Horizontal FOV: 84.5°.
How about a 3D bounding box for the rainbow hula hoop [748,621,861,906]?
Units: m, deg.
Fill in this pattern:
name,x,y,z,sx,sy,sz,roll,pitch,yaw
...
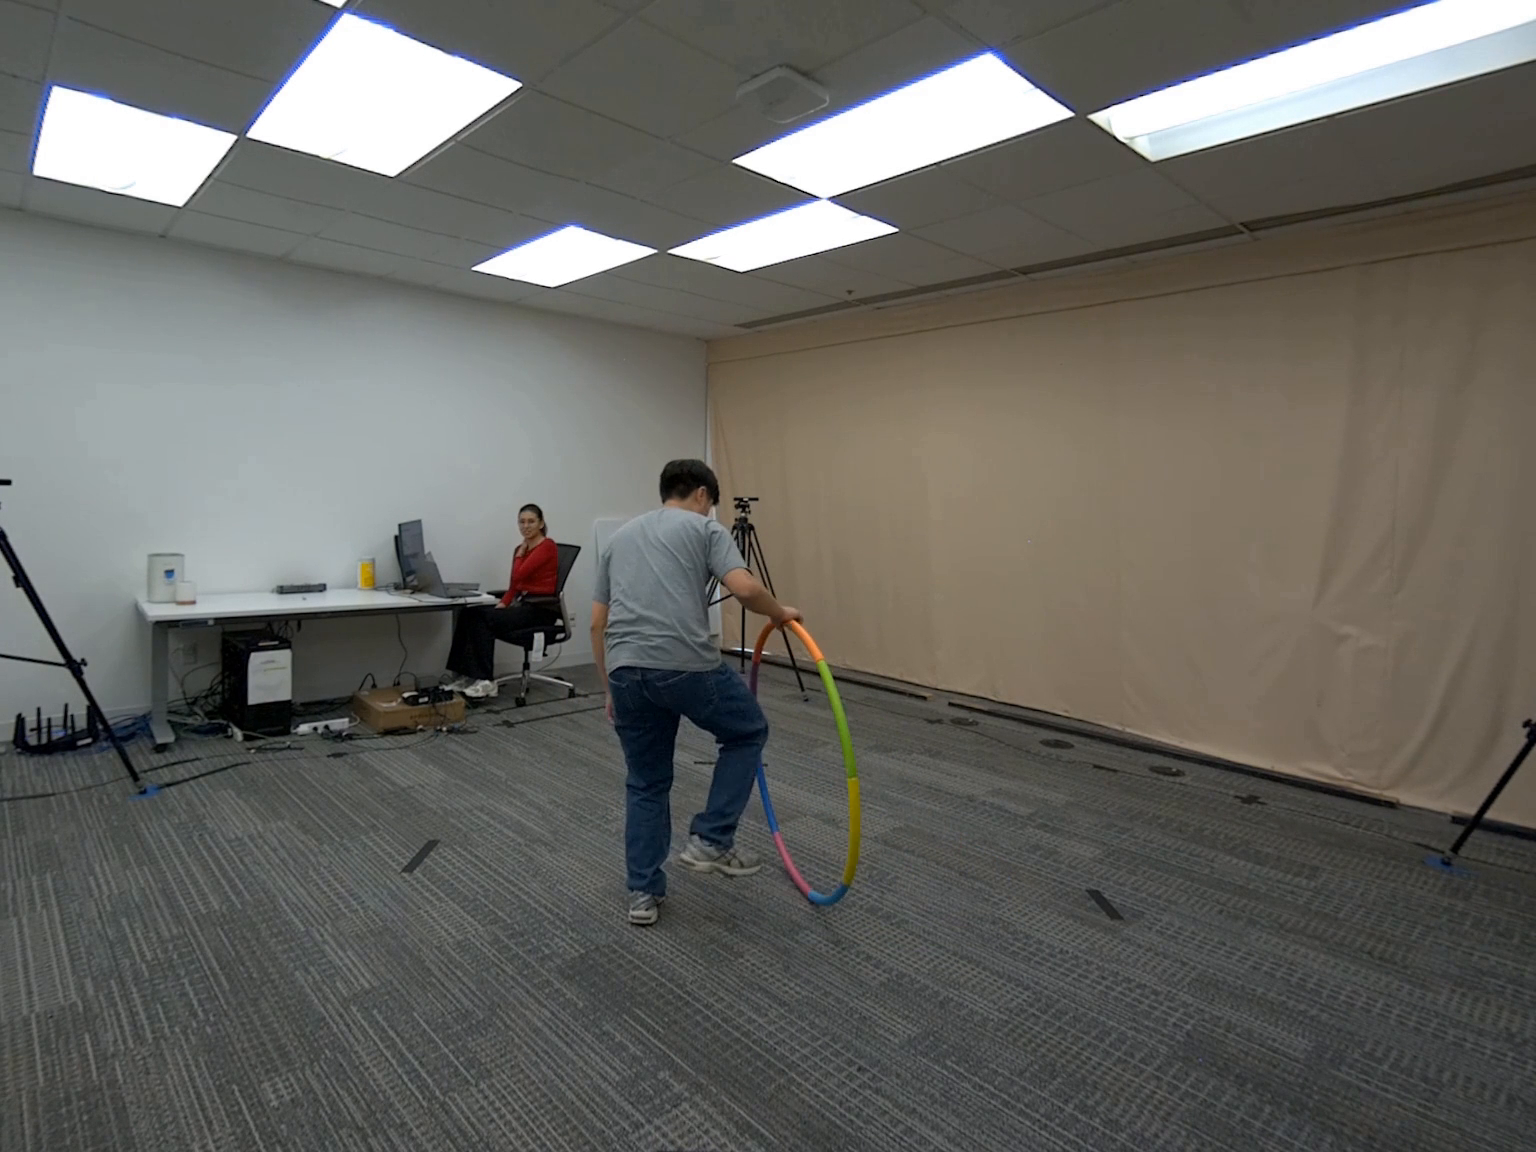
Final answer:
name,x,y,z,sx,sy,sz,roll,pitch,yaw
rainbow hula hoop,0.098,0.632,2.967,0.035,0.975,0.995,-5,6,-19
